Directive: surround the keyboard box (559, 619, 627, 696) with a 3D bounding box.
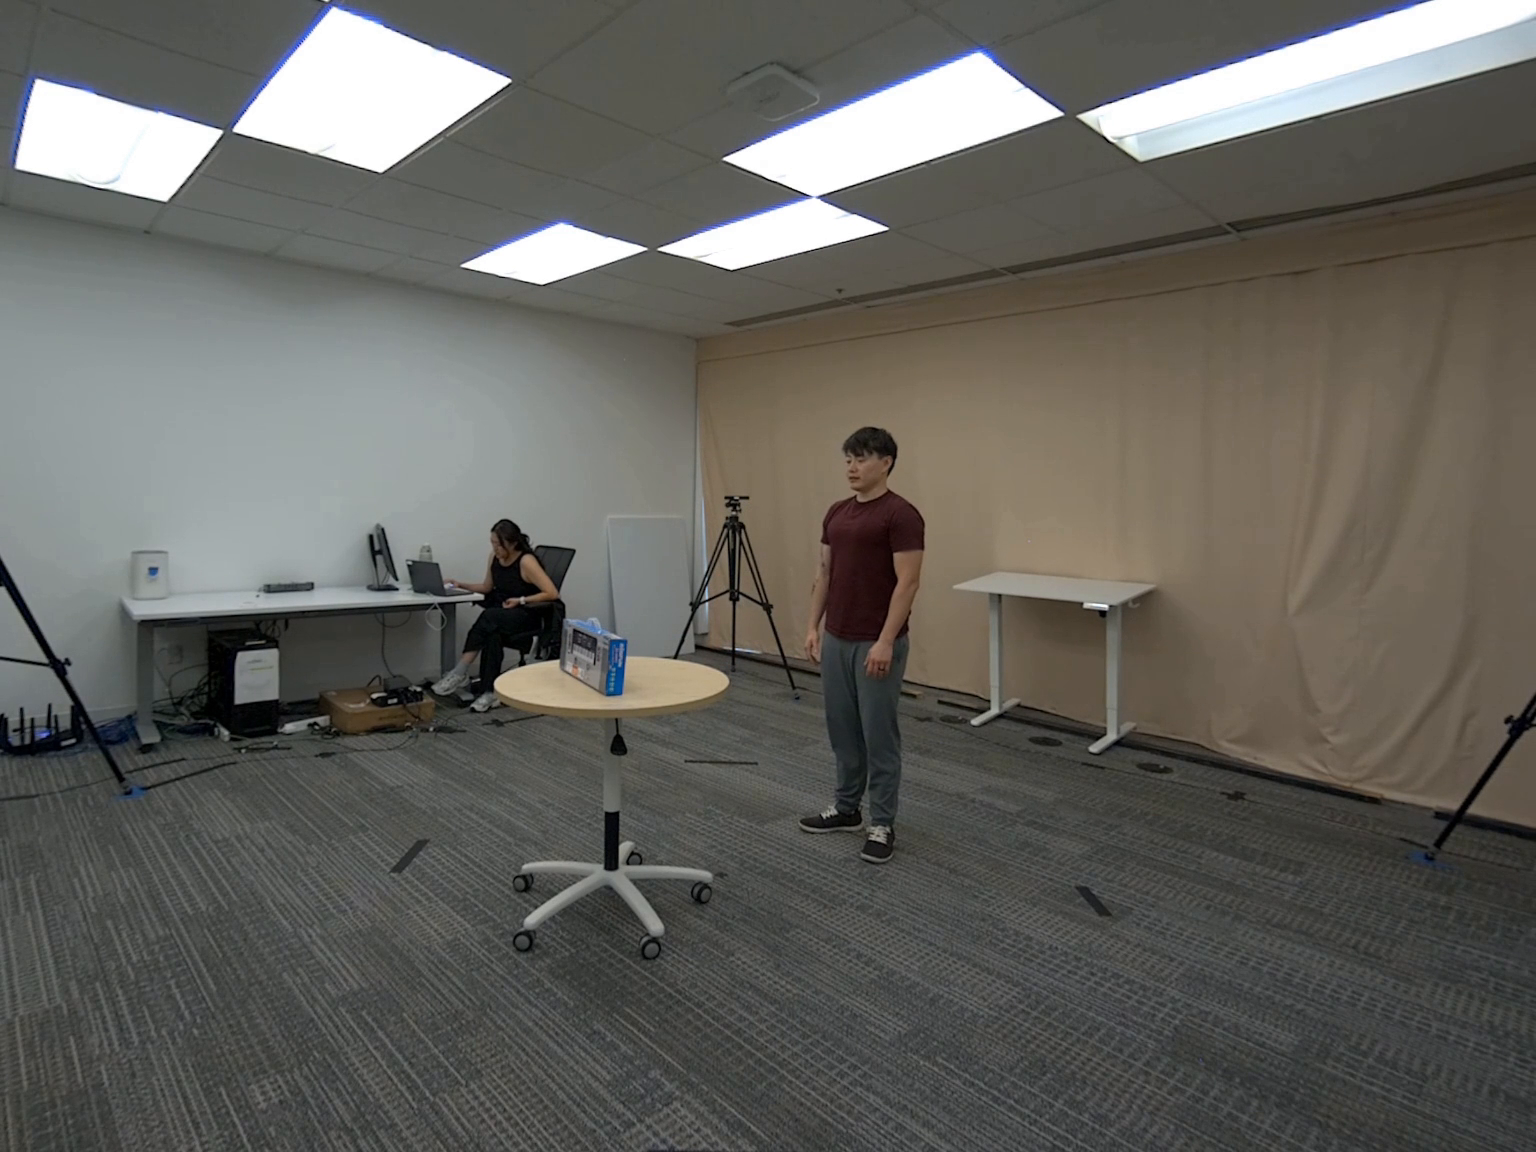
[{"bbox_3d":[-0.588,0.263,2.748,0.058,0.176,0.447,4,3,-31],"label":"keyboard box"}]
